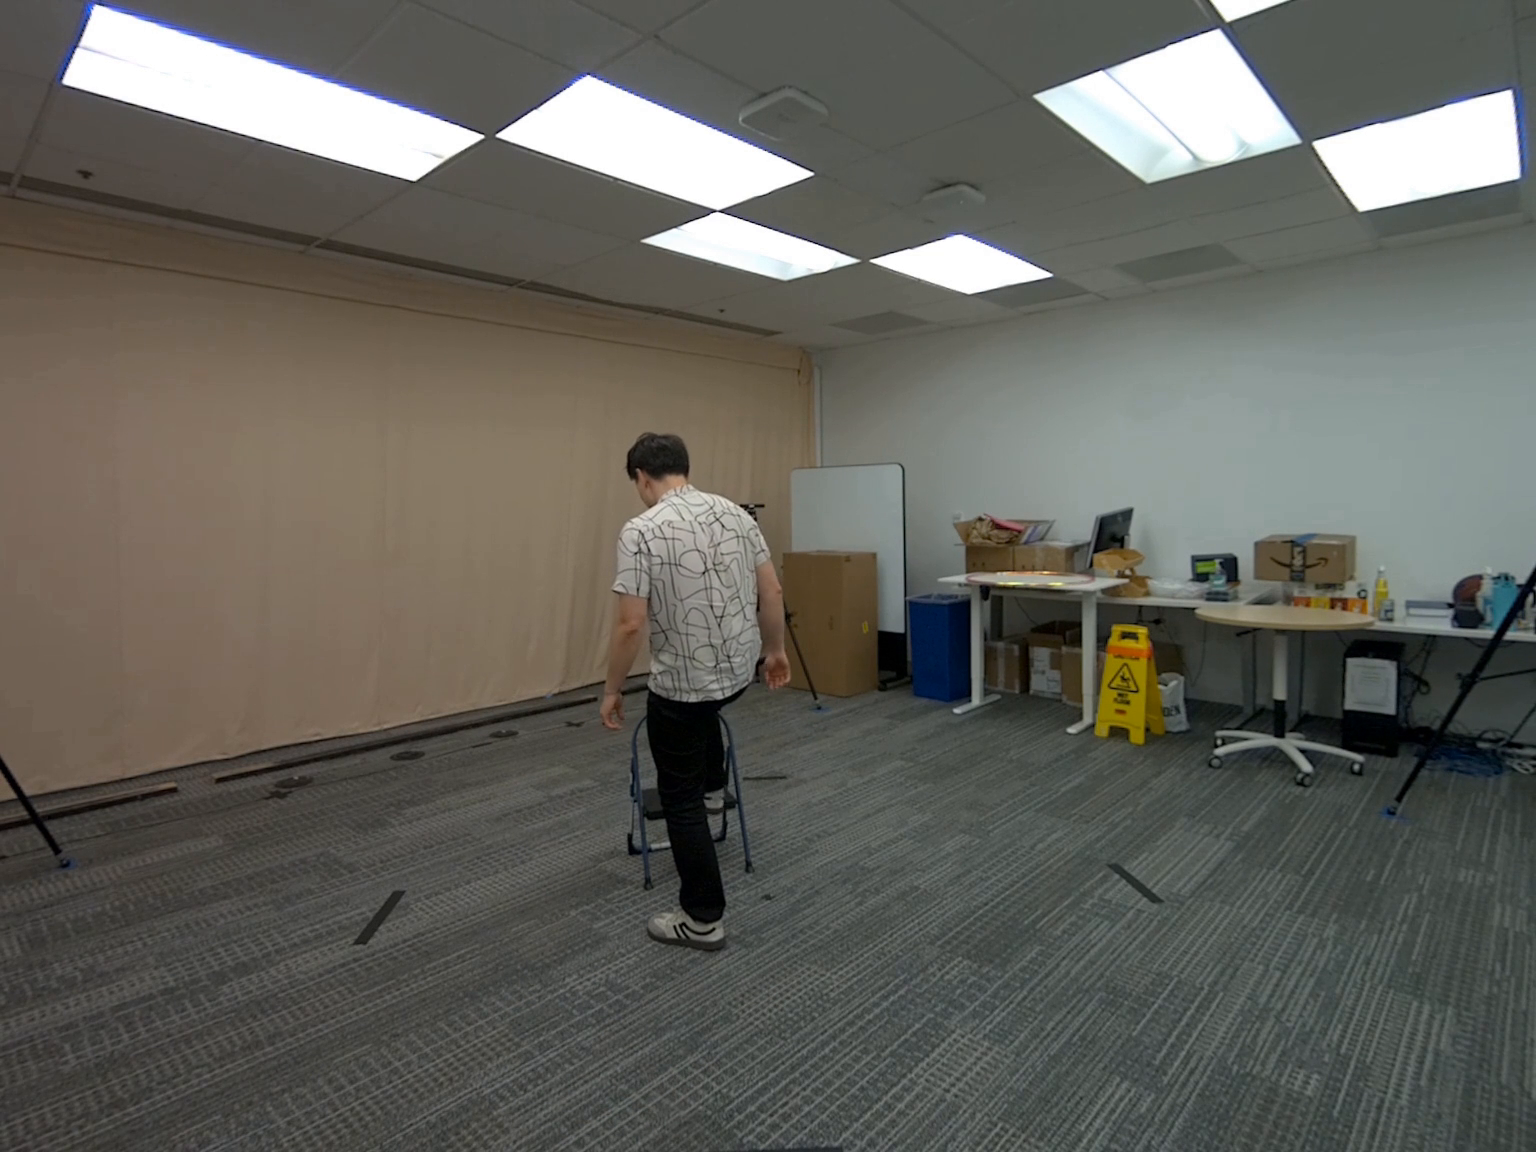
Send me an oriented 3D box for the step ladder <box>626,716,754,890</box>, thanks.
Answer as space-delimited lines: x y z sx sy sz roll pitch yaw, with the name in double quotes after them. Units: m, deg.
-0.316 0.818 3.277 0.422 0.605 0.357 -3 3 -20 "step ladder"
